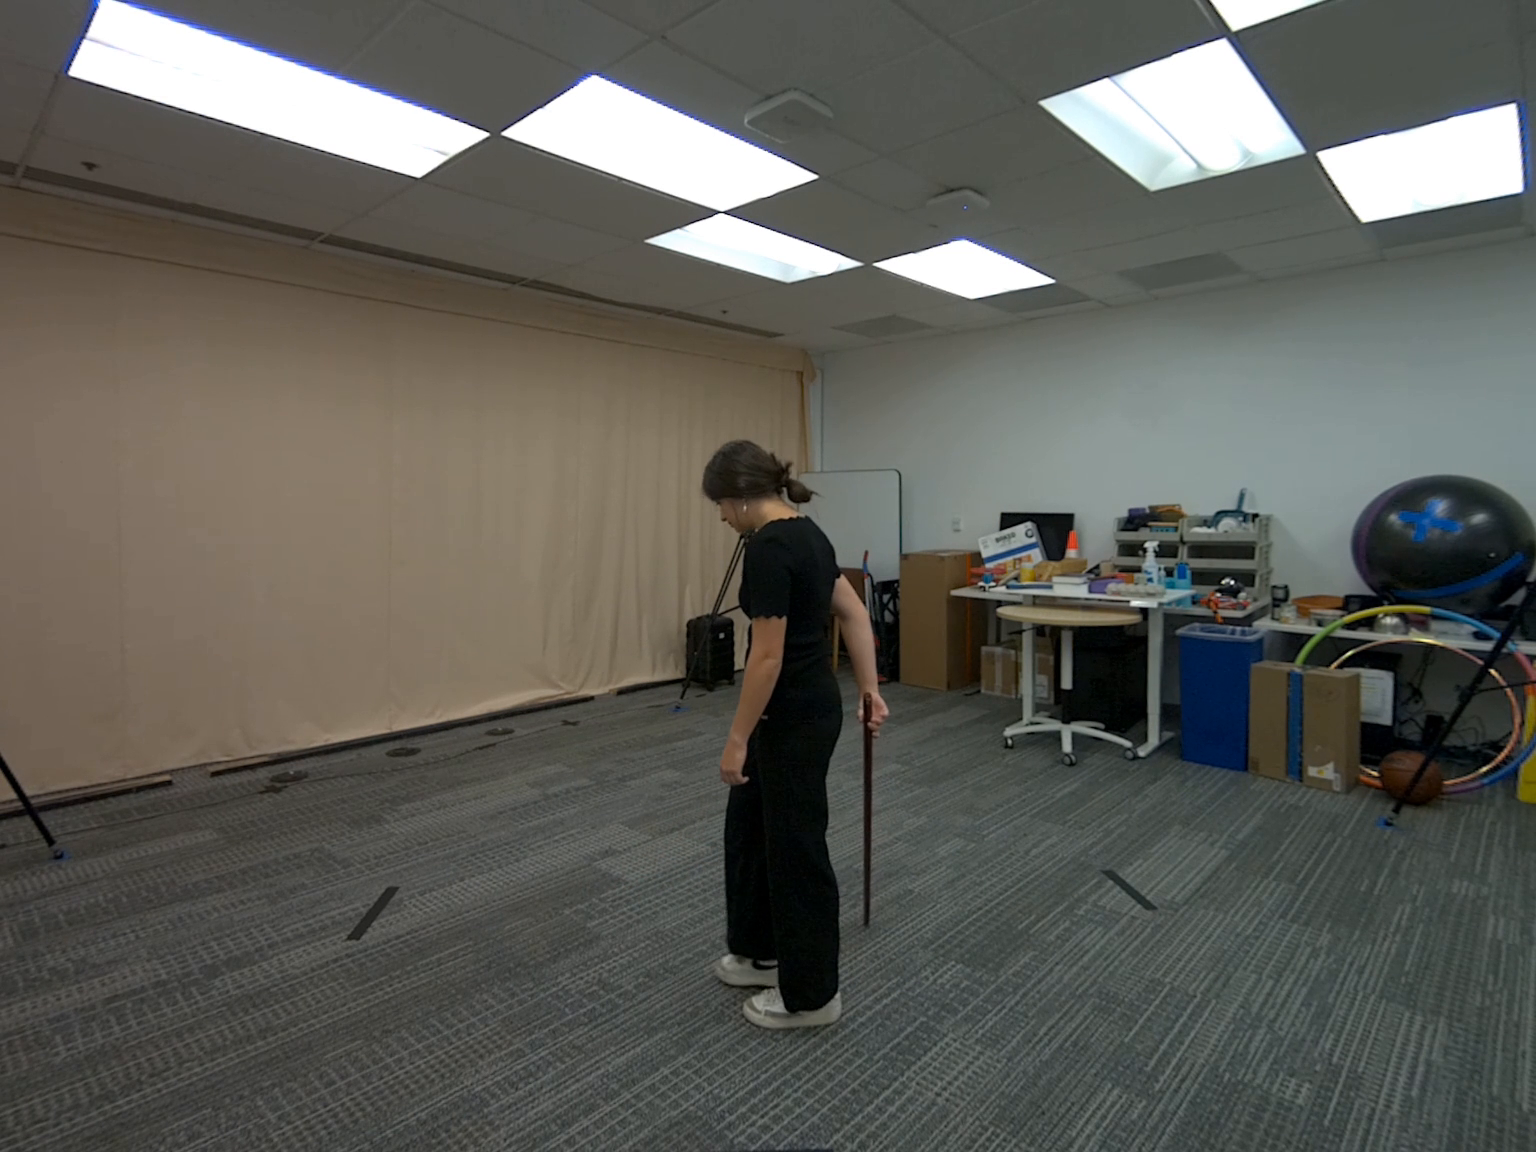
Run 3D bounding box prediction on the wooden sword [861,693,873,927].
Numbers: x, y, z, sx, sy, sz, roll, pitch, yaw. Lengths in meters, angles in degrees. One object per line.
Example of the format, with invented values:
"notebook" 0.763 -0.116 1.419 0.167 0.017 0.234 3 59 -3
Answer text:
"wooden sword" 0.304 0.754 2.522 0.052 1.005 0.024 2 35 6
